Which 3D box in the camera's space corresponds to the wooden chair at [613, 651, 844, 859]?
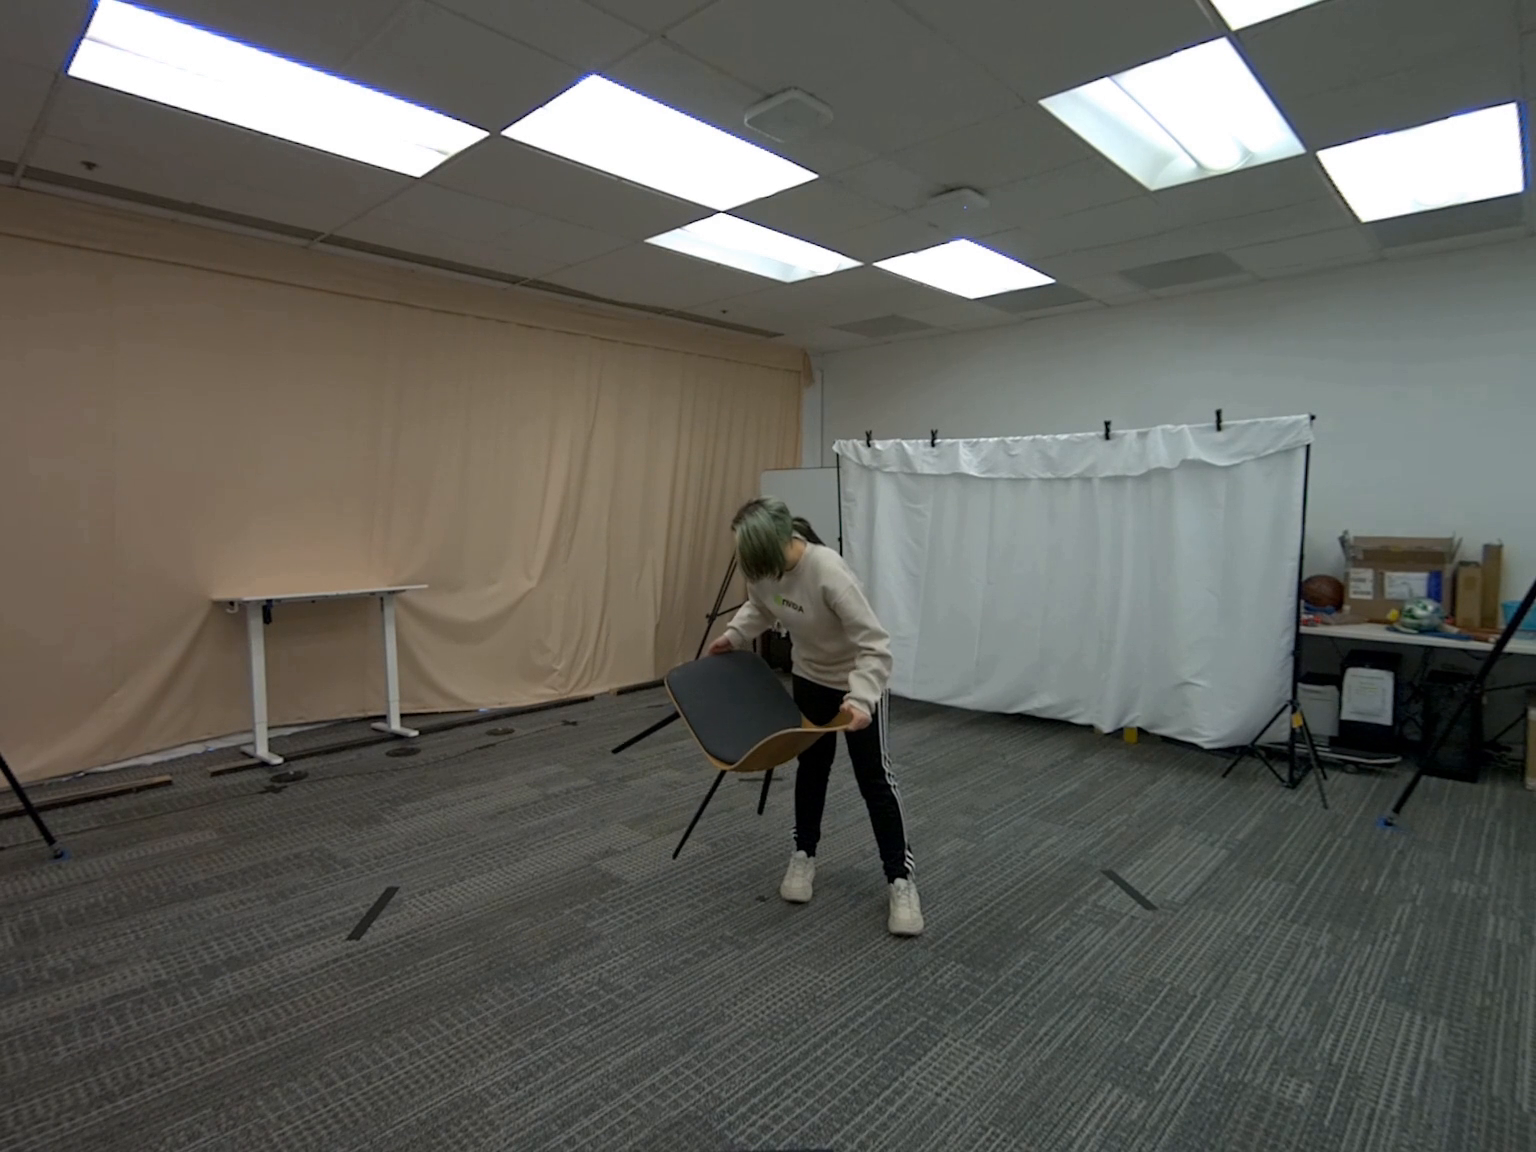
[{"bbox_3d":[-0.107,0.511,2.926,0.464,0.535,0.883,-9,-29,-45],"label":"wooden chair"}]
